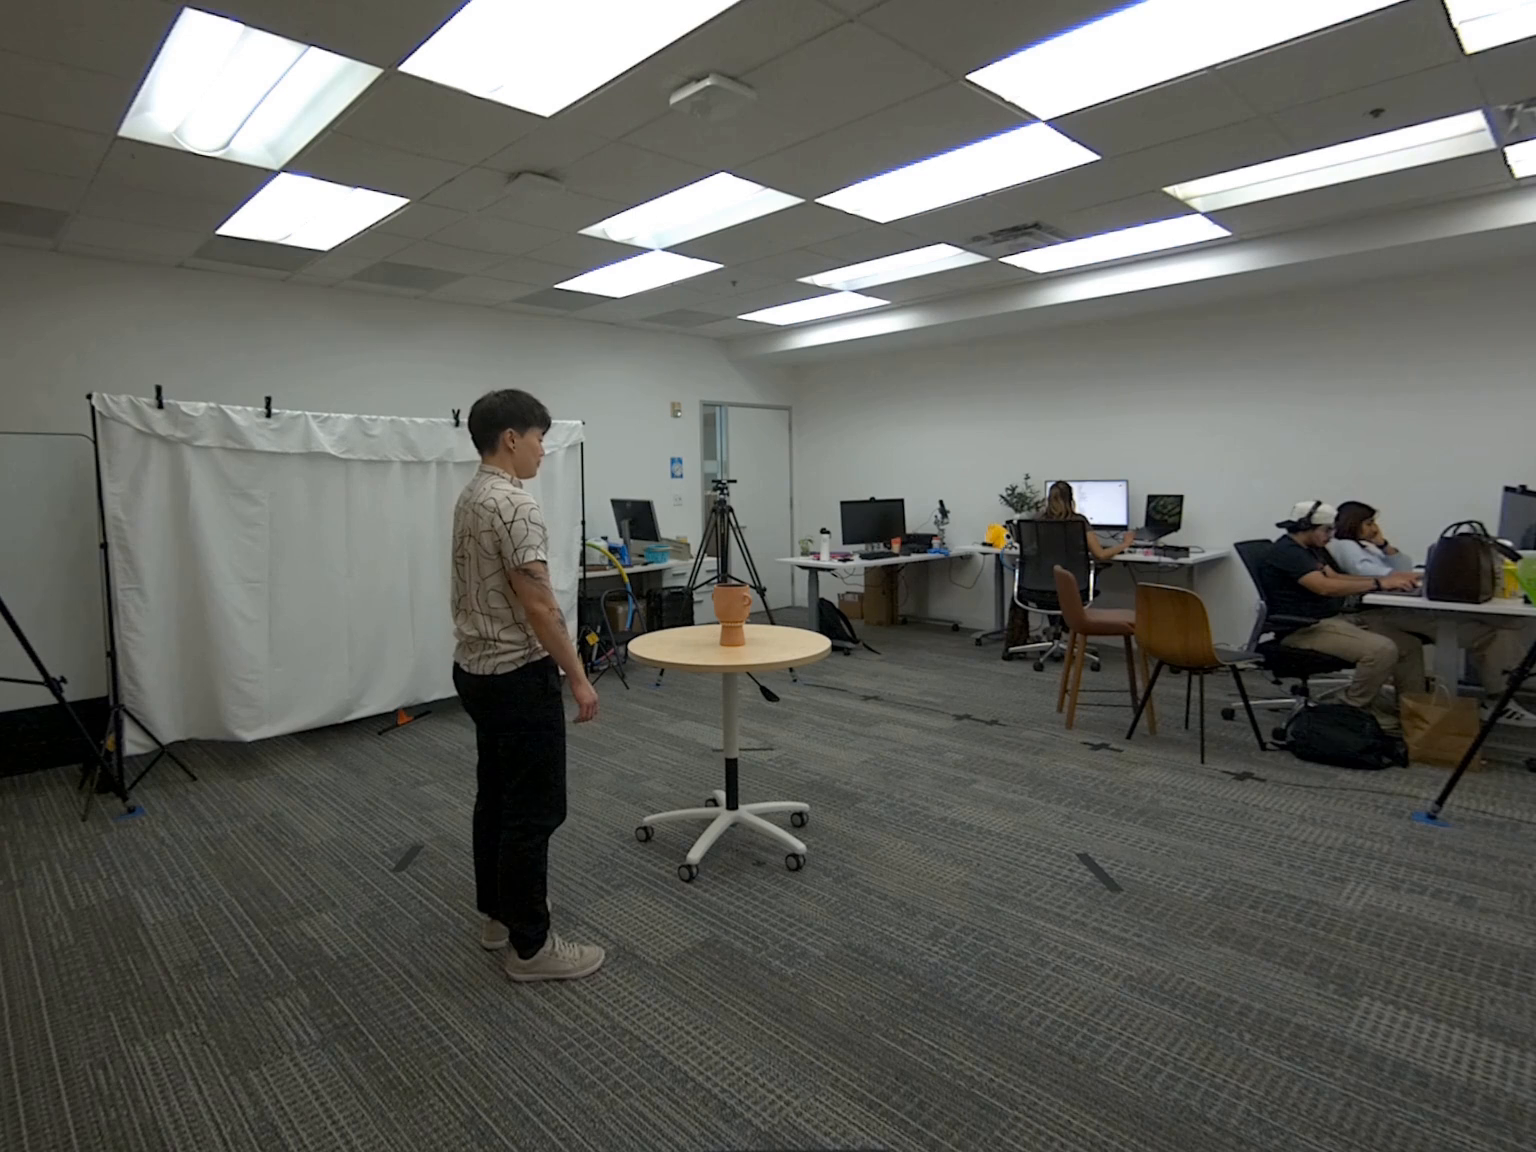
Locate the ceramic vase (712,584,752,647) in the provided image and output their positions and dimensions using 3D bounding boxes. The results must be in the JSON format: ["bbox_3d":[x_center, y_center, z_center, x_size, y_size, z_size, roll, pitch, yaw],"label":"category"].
[{"bbox_3d":[-0.133,0.147,3.191,0.134,0.219,0.160,-3,4,-9],"label":"ceramic vase"}]
